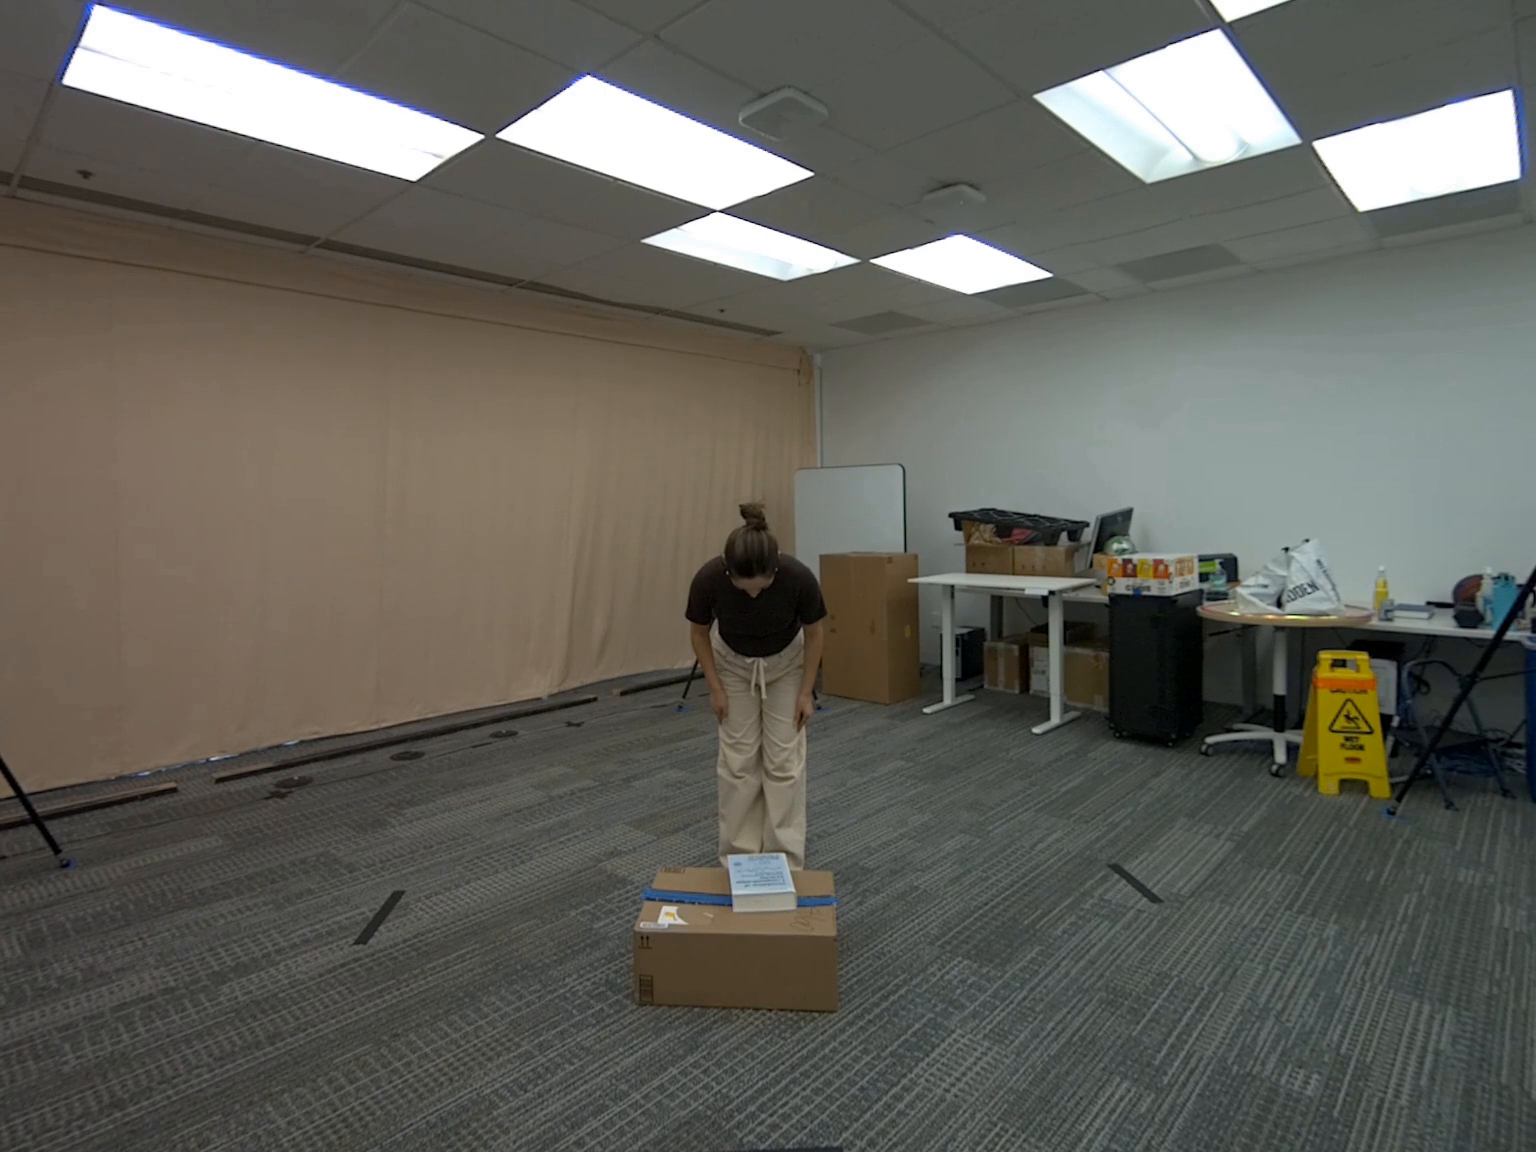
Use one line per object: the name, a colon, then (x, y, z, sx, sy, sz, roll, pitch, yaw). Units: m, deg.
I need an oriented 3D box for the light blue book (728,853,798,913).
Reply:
light blue book: (-0.022, 0.927, 2.582, 0.191, 0.059, 0.263, -2, 6, -4)
